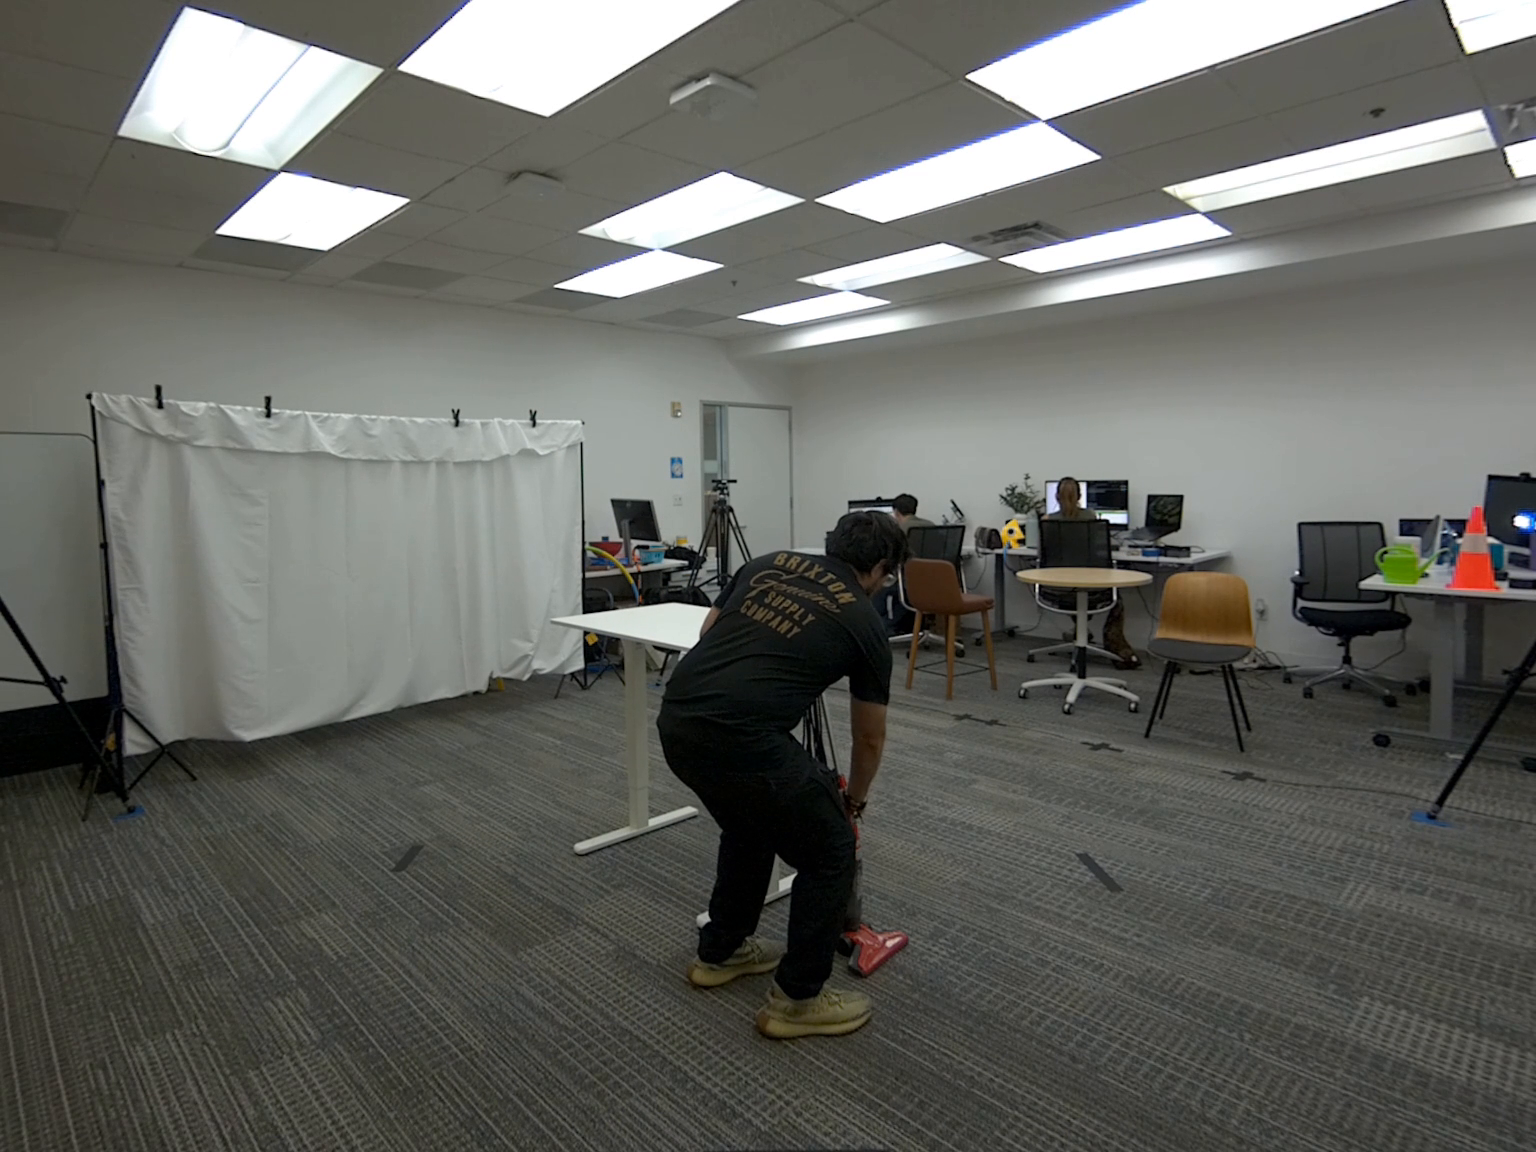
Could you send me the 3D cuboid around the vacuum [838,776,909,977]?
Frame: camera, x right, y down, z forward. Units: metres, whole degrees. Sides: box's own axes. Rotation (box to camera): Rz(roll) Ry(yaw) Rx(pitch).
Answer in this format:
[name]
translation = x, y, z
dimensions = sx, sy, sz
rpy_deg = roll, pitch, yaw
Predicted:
[vacuum]
translation = 0.187, 0.597, 2.589
dimensions = 0.146, 1.059, 0.246
rpy_deg = -19, -10, 37
